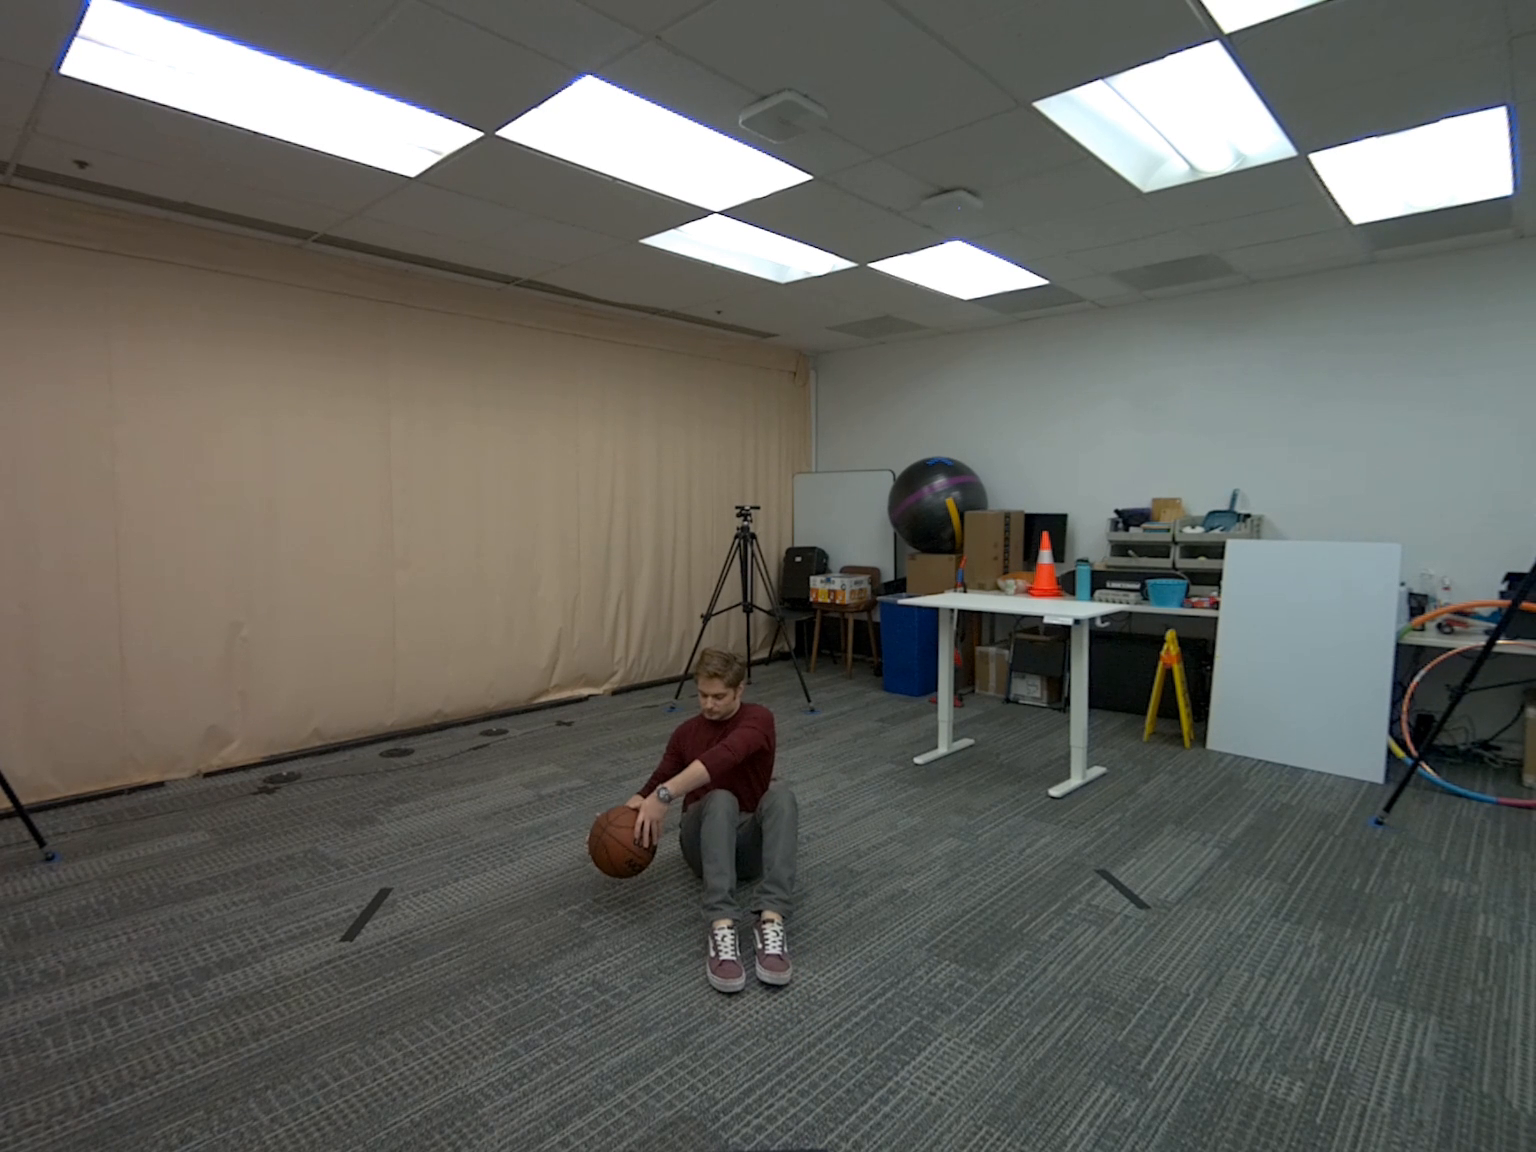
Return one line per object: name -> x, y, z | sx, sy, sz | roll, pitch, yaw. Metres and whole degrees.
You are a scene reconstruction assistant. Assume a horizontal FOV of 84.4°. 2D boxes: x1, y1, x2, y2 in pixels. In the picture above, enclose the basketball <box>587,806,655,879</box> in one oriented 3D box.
basketball -> -0.490, 0.912, 2.908 | 0.236, 0.235, 0.237 | 0, 4, -2
